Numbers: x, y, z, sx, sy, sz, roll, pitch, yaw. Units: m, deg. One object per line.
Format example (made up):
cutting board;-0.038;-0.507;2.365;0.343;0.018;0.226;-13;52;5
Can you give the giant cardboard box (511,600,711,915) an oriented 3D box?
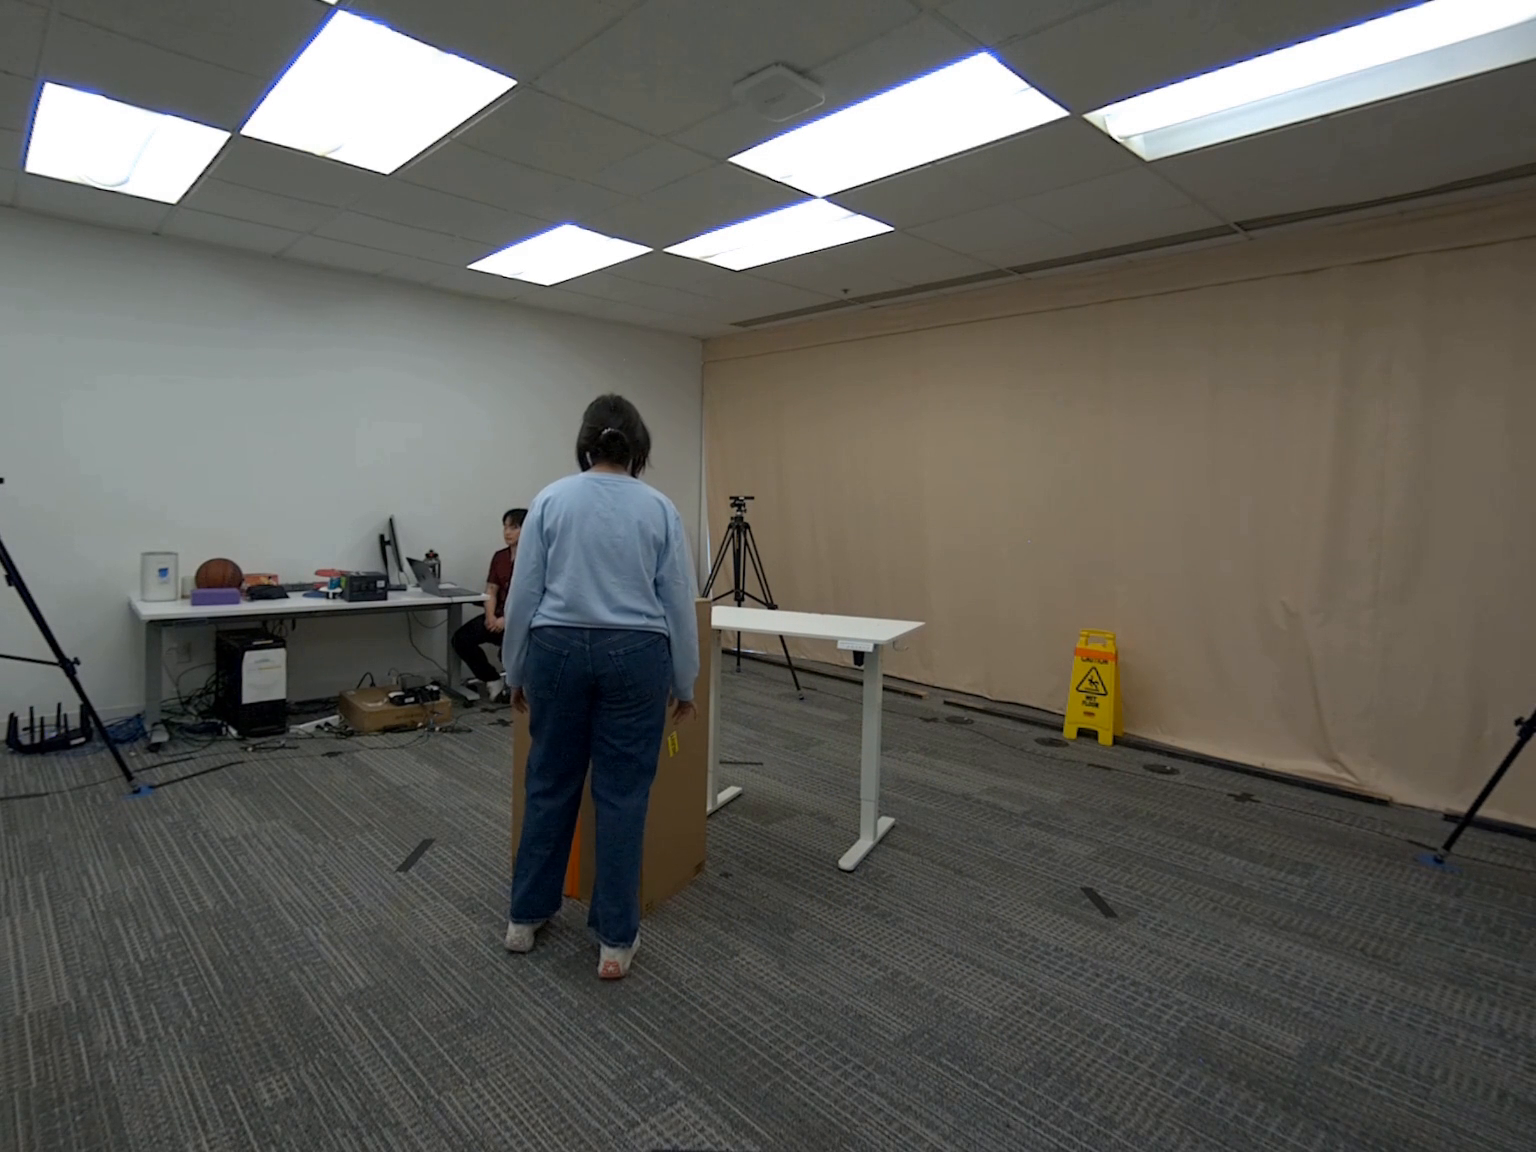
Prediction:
giant cardboard box;-0.575;0.592;3.064;0.589;1.023;0.418;4;4;27
